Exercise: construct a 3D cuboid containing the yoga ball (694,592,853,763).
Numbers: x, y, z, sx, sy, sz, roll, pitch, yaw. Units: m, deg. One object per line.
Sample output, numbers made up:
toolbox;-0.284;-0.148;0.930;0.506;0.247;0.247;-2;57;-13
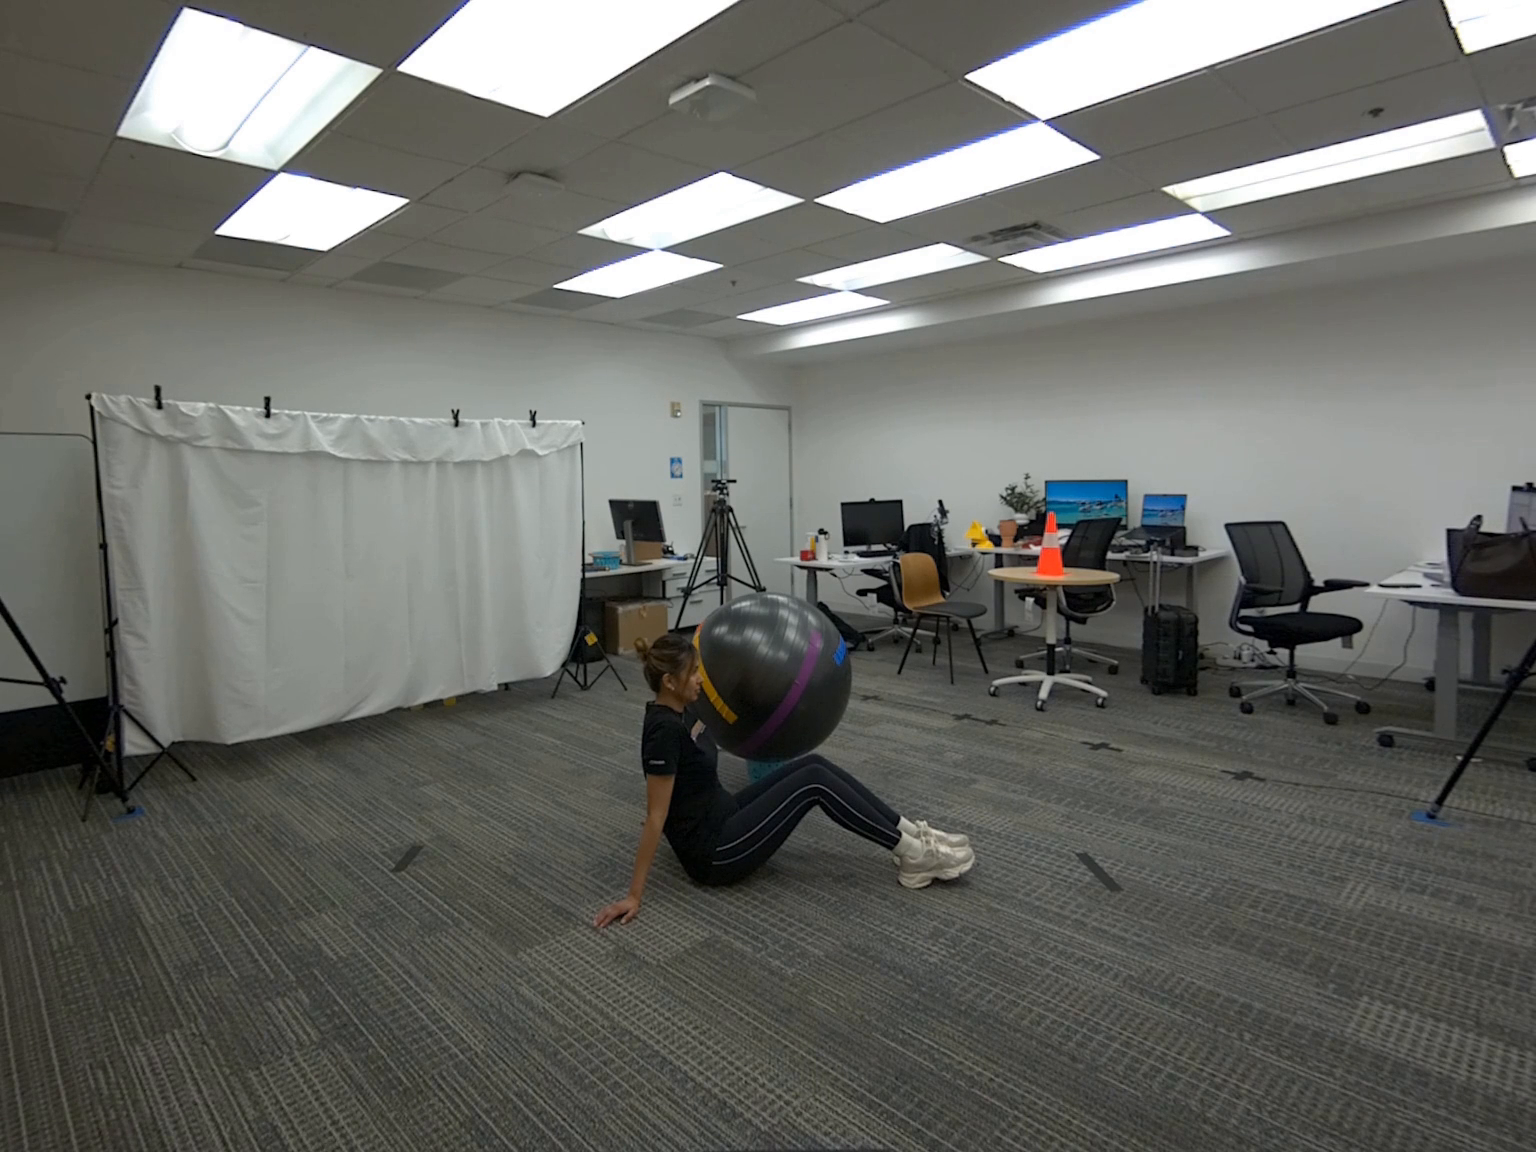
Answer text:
yoga ball;-0.004;0.455;3.857;0.757;0.755;0.762;-1;5;-2
